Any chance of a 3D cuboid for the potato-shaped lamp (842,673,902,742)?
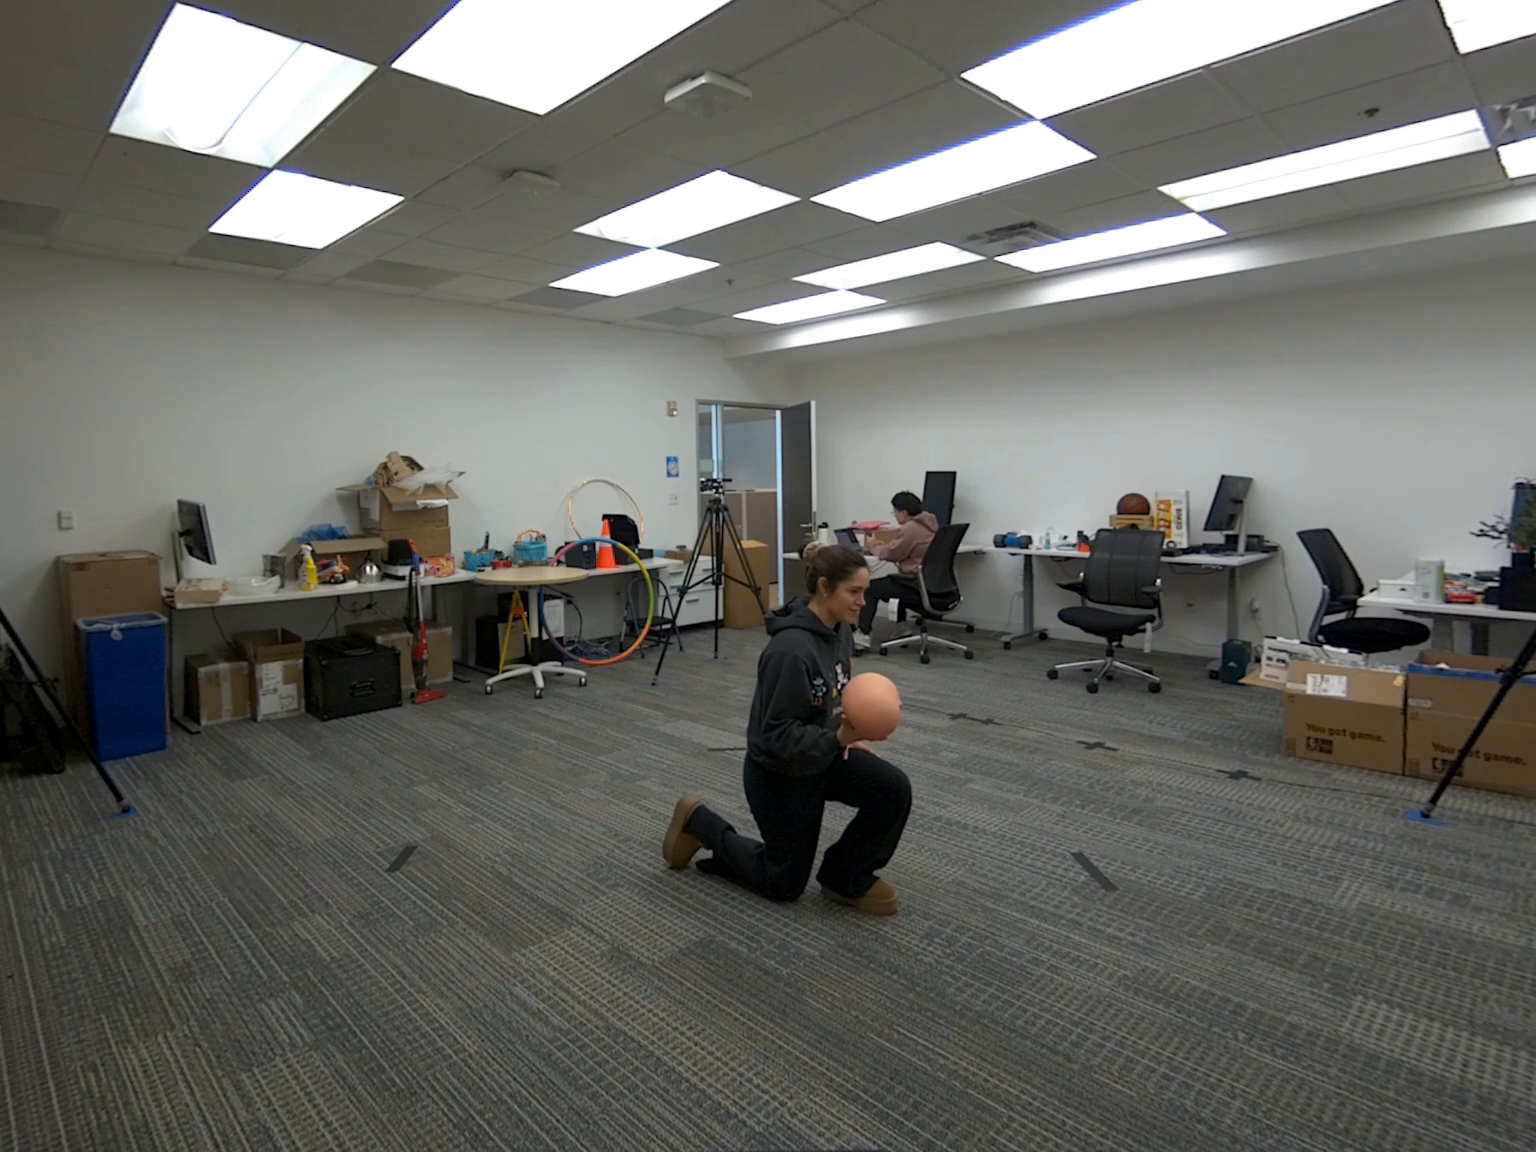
[{"bbox_3d":[0.303,0.374,2.441,0.166,0.165,0.204,40,11,-24],"label":"potato-shaped lamp"}]
